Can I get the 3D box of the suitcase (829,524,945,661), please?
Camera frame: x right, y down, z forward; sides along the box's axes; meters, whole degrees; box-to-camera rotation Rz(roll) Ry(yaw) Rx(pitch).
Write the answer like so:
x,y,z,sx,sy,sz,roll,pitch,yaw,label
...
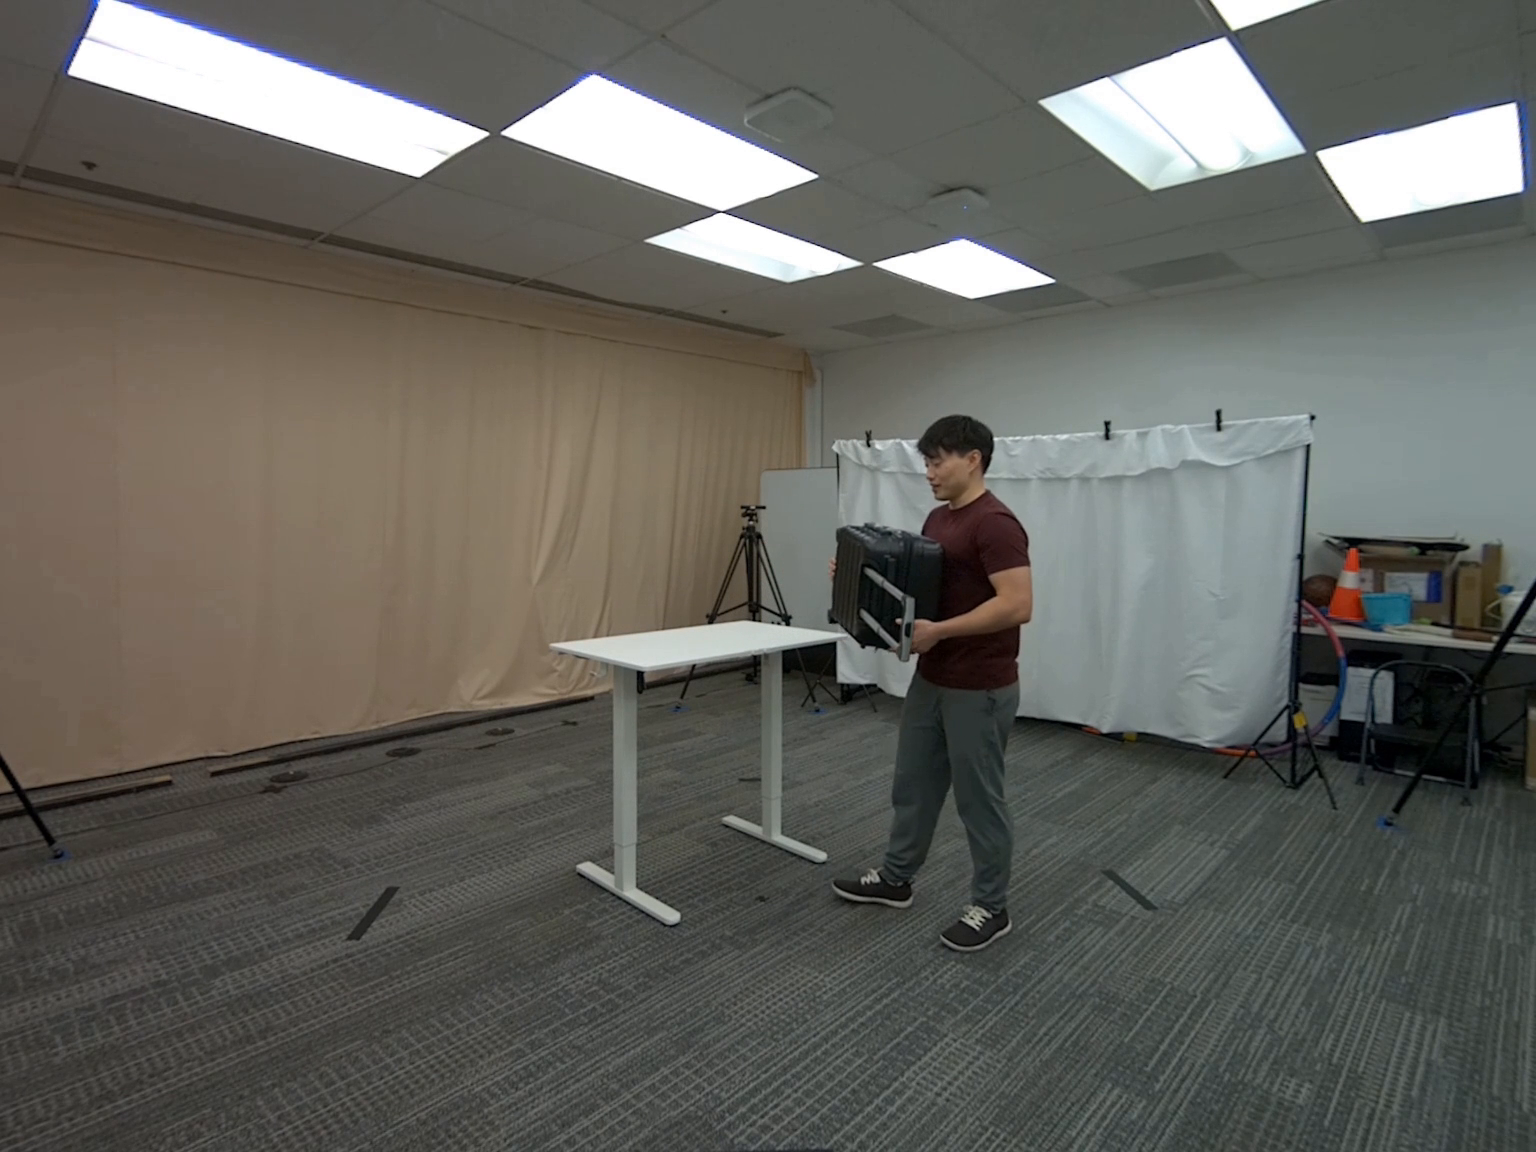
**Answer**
x,y,z,sx,sy,sz,roll,pitch,yaw,label
0.384,0.047,2.554,0.256,0.383,0.984,5,5,-4,suitcase
